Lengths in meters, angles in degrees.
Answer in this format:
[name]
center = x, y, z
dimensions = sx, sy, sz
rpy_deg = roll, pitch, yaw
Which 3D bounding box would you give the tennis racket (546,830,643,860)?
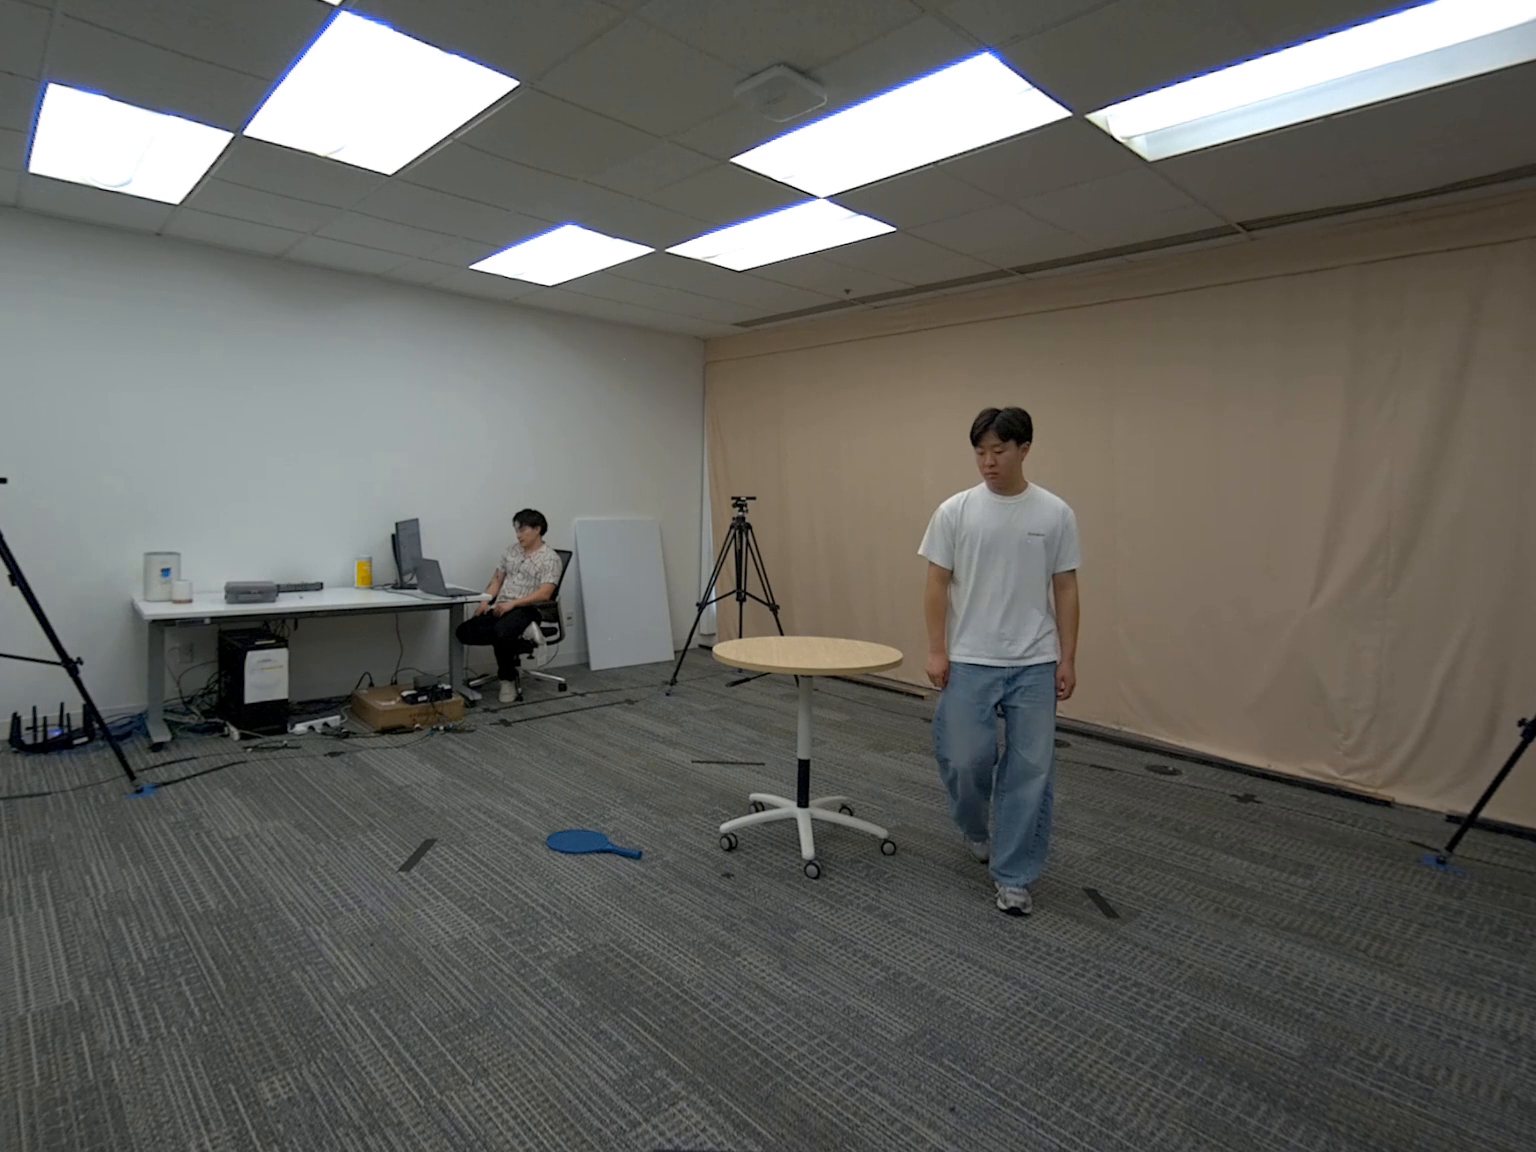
[tennis racket]
center = -0.690, 1.055, 3.322
dimensions = 0.442, 0.031, 0.210
rpy_deg = 2, 6, 28
